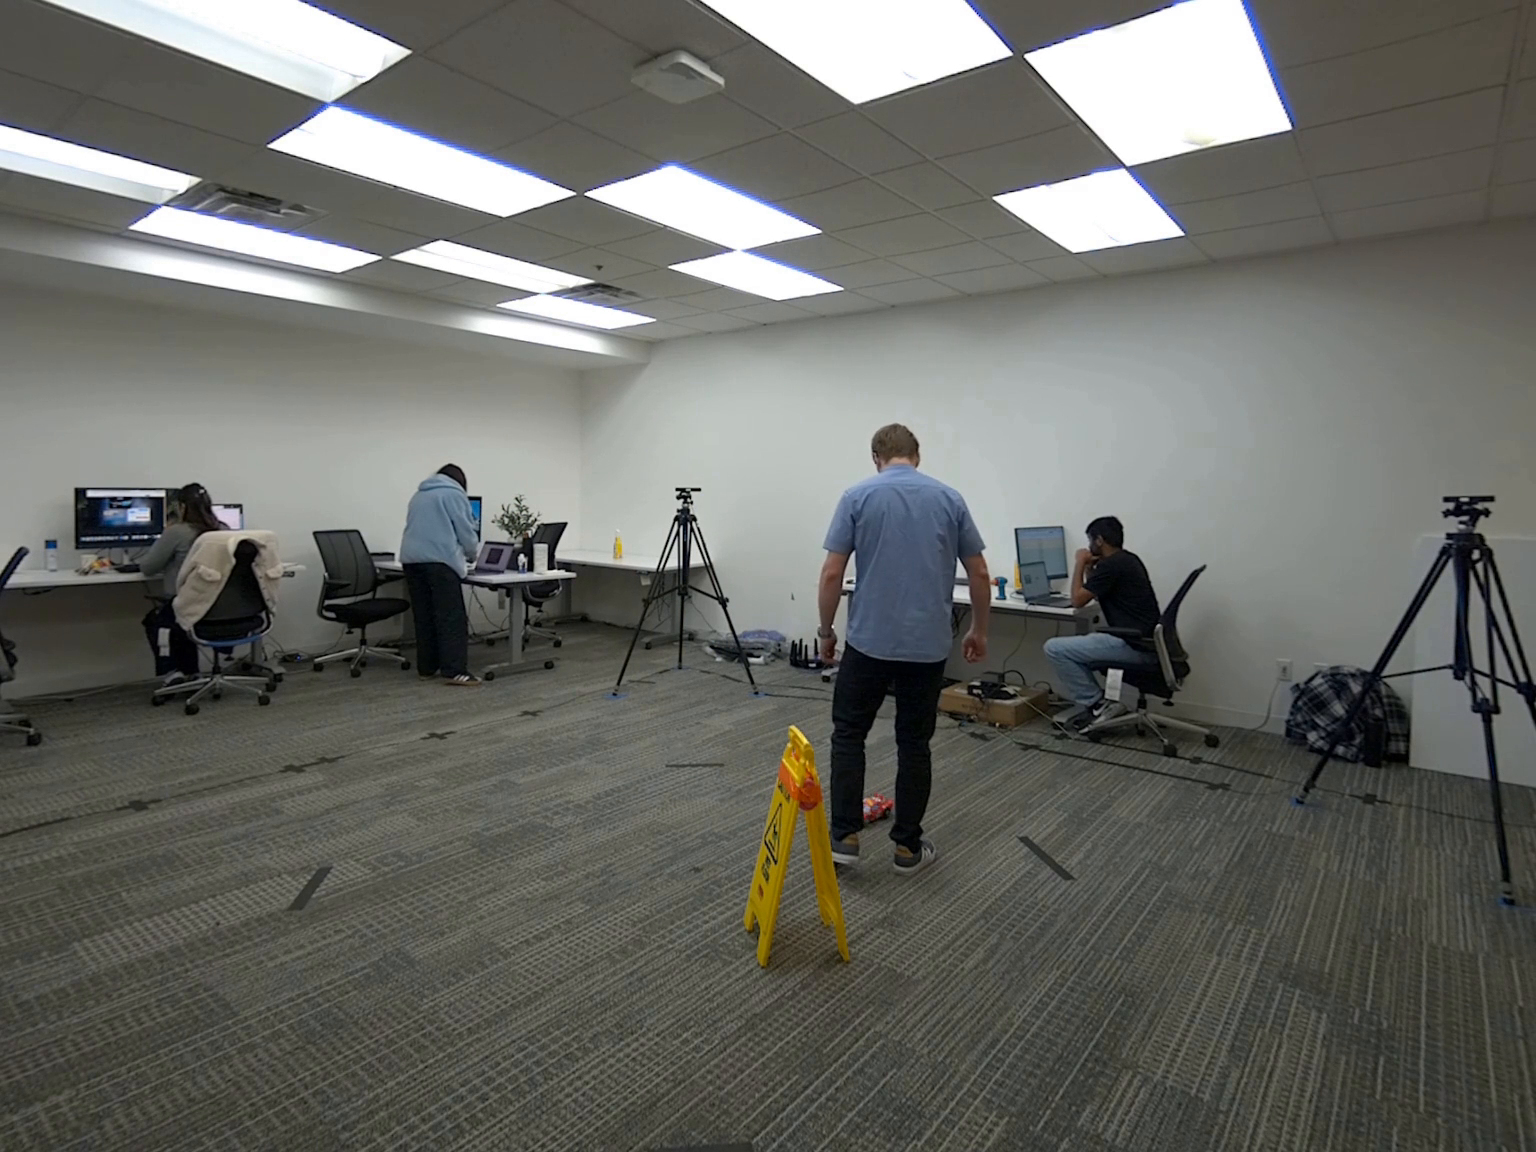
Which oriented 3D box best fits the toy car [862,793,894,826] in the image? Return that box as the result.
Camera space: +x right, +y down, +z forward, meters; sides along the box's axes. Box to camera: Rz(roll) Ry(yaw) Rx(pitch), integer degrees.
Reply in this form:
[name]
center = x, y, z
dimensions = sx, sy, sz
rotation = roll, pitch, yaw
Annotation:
[toy car]
center = 0.432, 1.000, 3.638
dimensions = 0.249, 0.082, 0.135
rotation = -20, 18, -41
